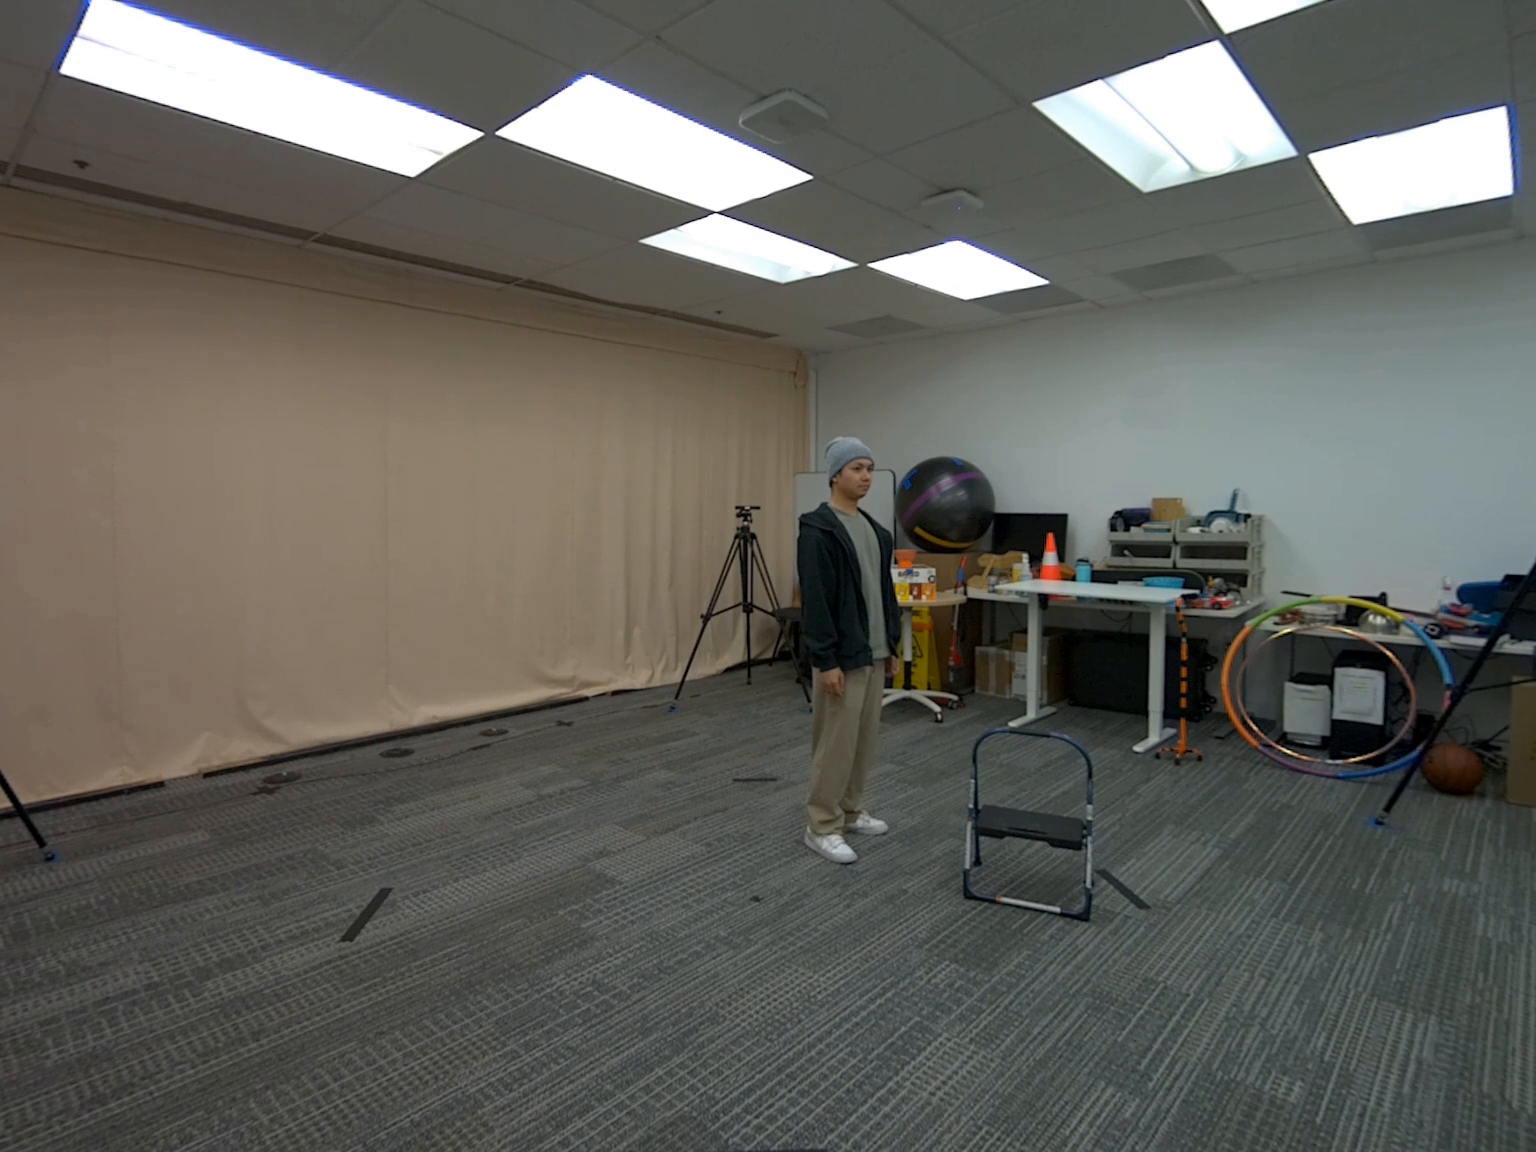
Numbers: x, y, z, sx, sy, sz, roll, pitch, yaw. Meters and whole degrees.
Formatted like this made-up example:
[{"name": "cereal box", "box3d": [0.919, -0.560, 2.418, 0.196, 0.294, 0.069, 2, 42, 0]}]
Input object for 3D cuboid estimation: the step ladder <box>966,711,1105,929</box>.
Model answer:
[{"name": "step ladder", "box3d": [0.956, 0.840, 3.027, 0.441, 0.605, 0.342, 1, 3, 22]}]
